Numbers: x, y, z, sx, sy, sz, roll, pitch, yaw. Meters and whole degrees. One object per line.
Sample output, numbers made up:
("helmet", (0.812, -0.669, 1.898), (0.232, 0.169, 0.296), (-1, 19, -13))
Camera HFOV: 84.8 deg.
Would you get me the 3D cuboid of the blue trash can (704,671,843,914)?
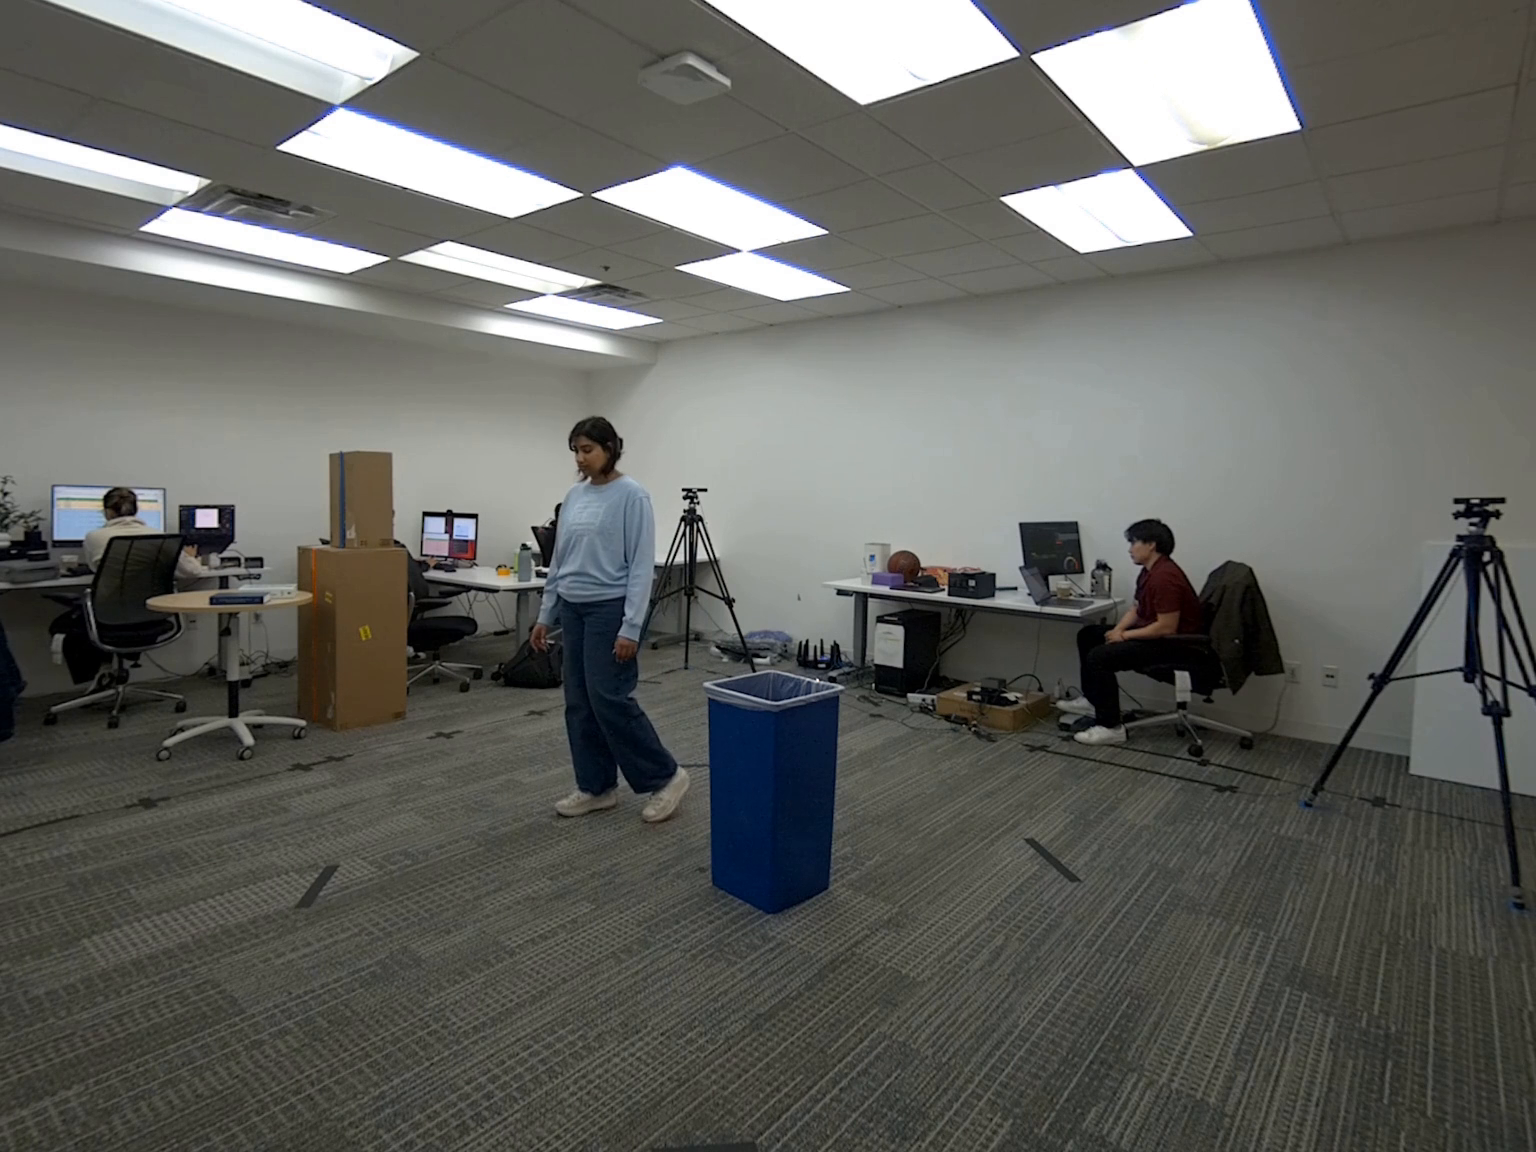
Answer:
("blue trash can", (0.004, 0.730, 2.965), (0.362, 0.712, 0.391), (-2, 4, -45))
